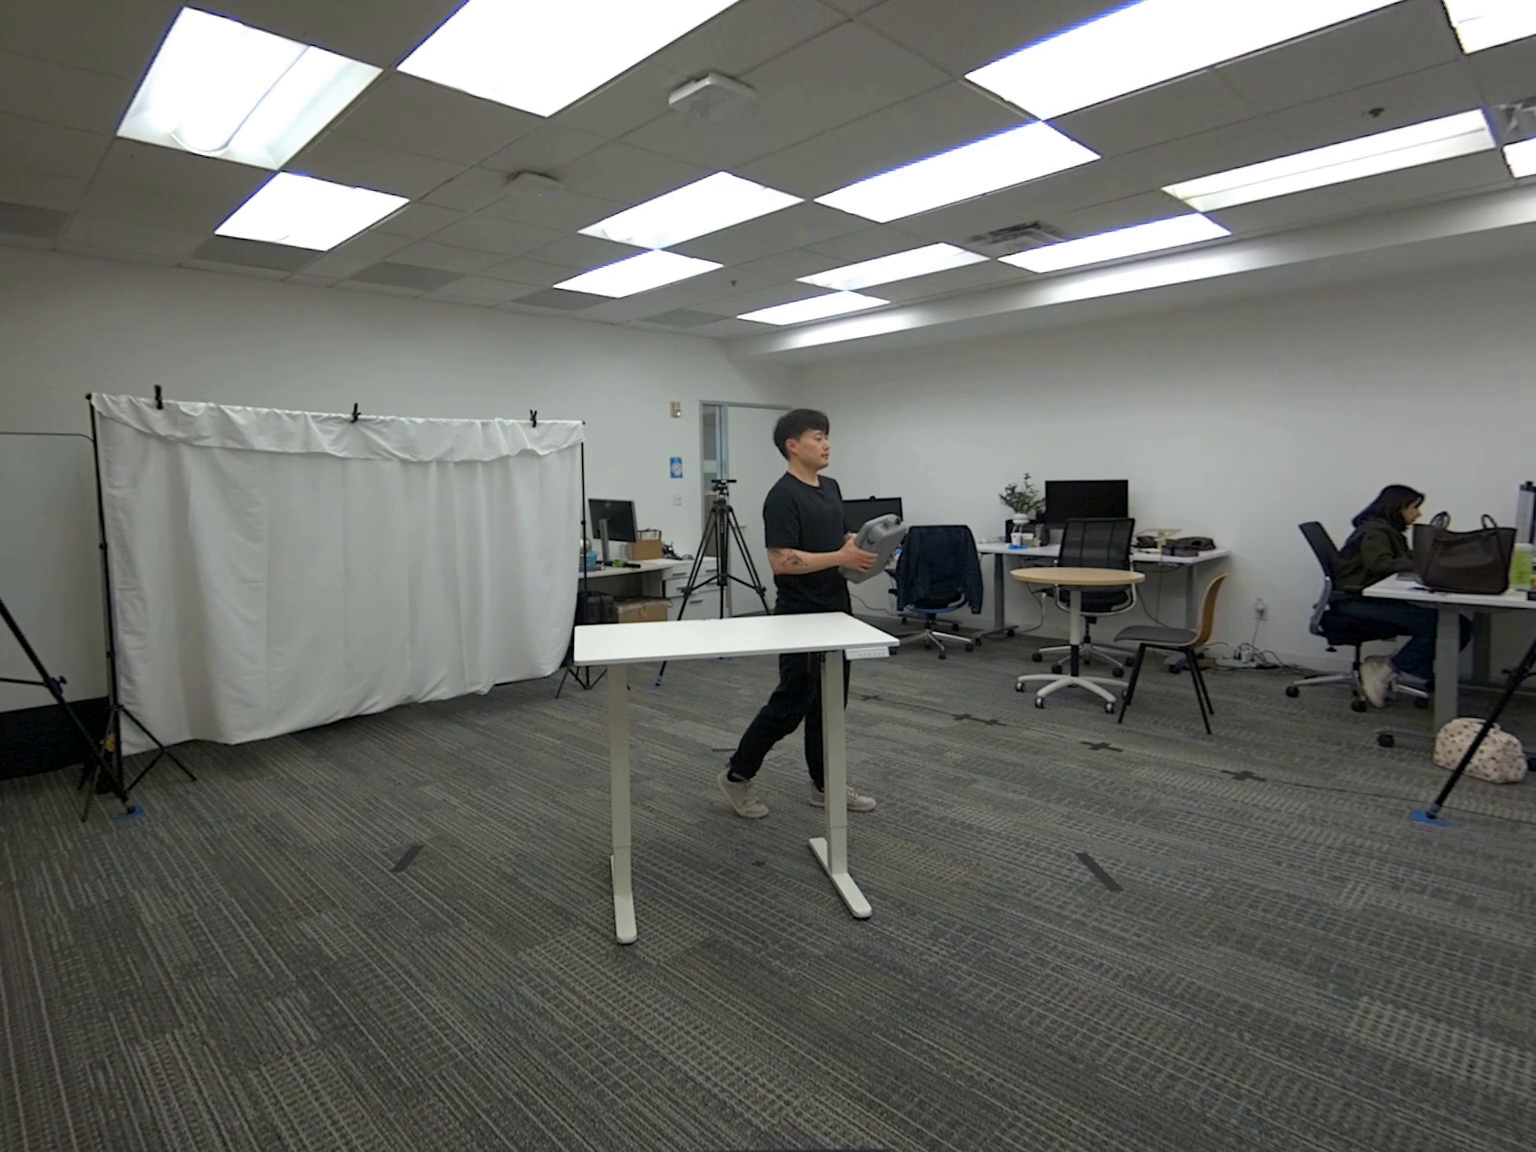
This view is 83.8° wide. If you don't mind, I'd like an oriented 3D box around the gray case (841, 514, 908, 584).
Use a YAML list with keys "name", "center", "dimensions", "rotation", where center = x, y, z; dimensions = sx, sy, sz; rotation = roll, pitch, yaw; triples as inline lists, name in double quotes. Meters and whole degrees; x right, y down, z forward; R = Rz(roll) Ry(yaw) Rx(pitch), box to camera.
- name: "gray case"
  center: [0.412, -0.107, 3.383]
  dimensions: [0.107, 0.258, 0.252]
  rotation: [39, 30, 20]
